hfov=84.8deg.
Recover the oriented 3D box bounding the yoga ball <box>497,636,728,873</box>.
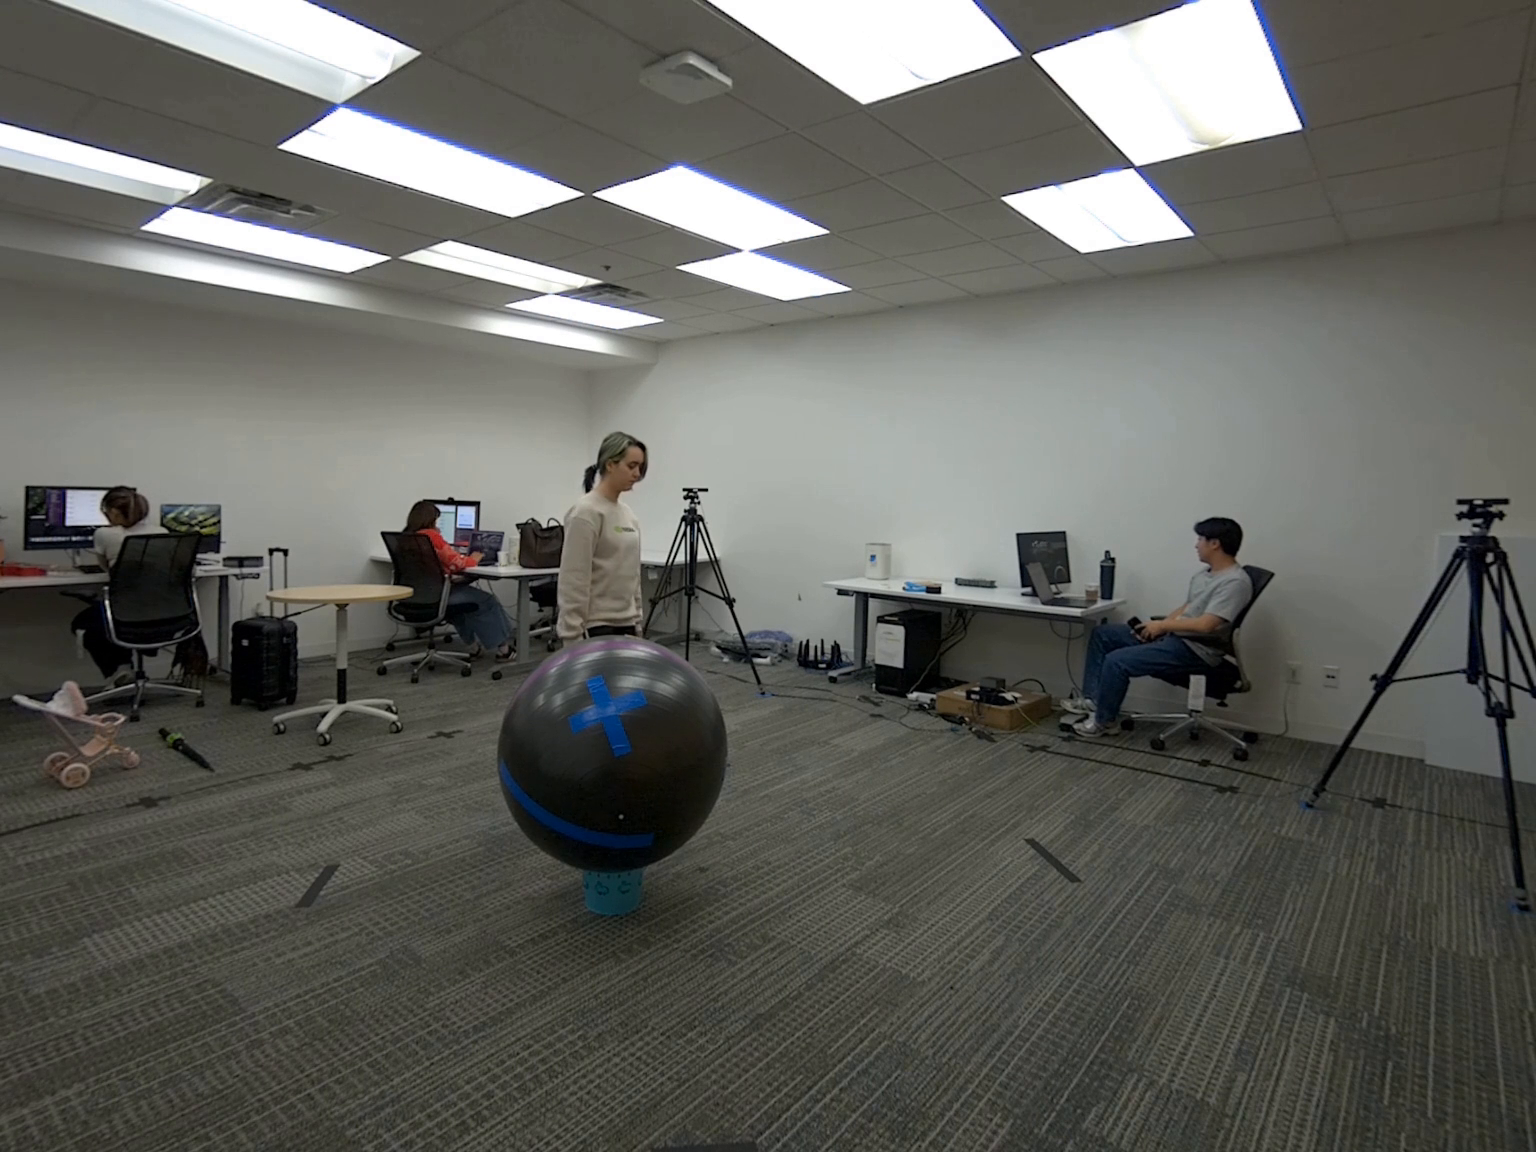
[{"bbox_3d":[-0.520,0.581,2.828,0.757,0.755,0.762,1,4,-2],"label":"yoga ball"}]
